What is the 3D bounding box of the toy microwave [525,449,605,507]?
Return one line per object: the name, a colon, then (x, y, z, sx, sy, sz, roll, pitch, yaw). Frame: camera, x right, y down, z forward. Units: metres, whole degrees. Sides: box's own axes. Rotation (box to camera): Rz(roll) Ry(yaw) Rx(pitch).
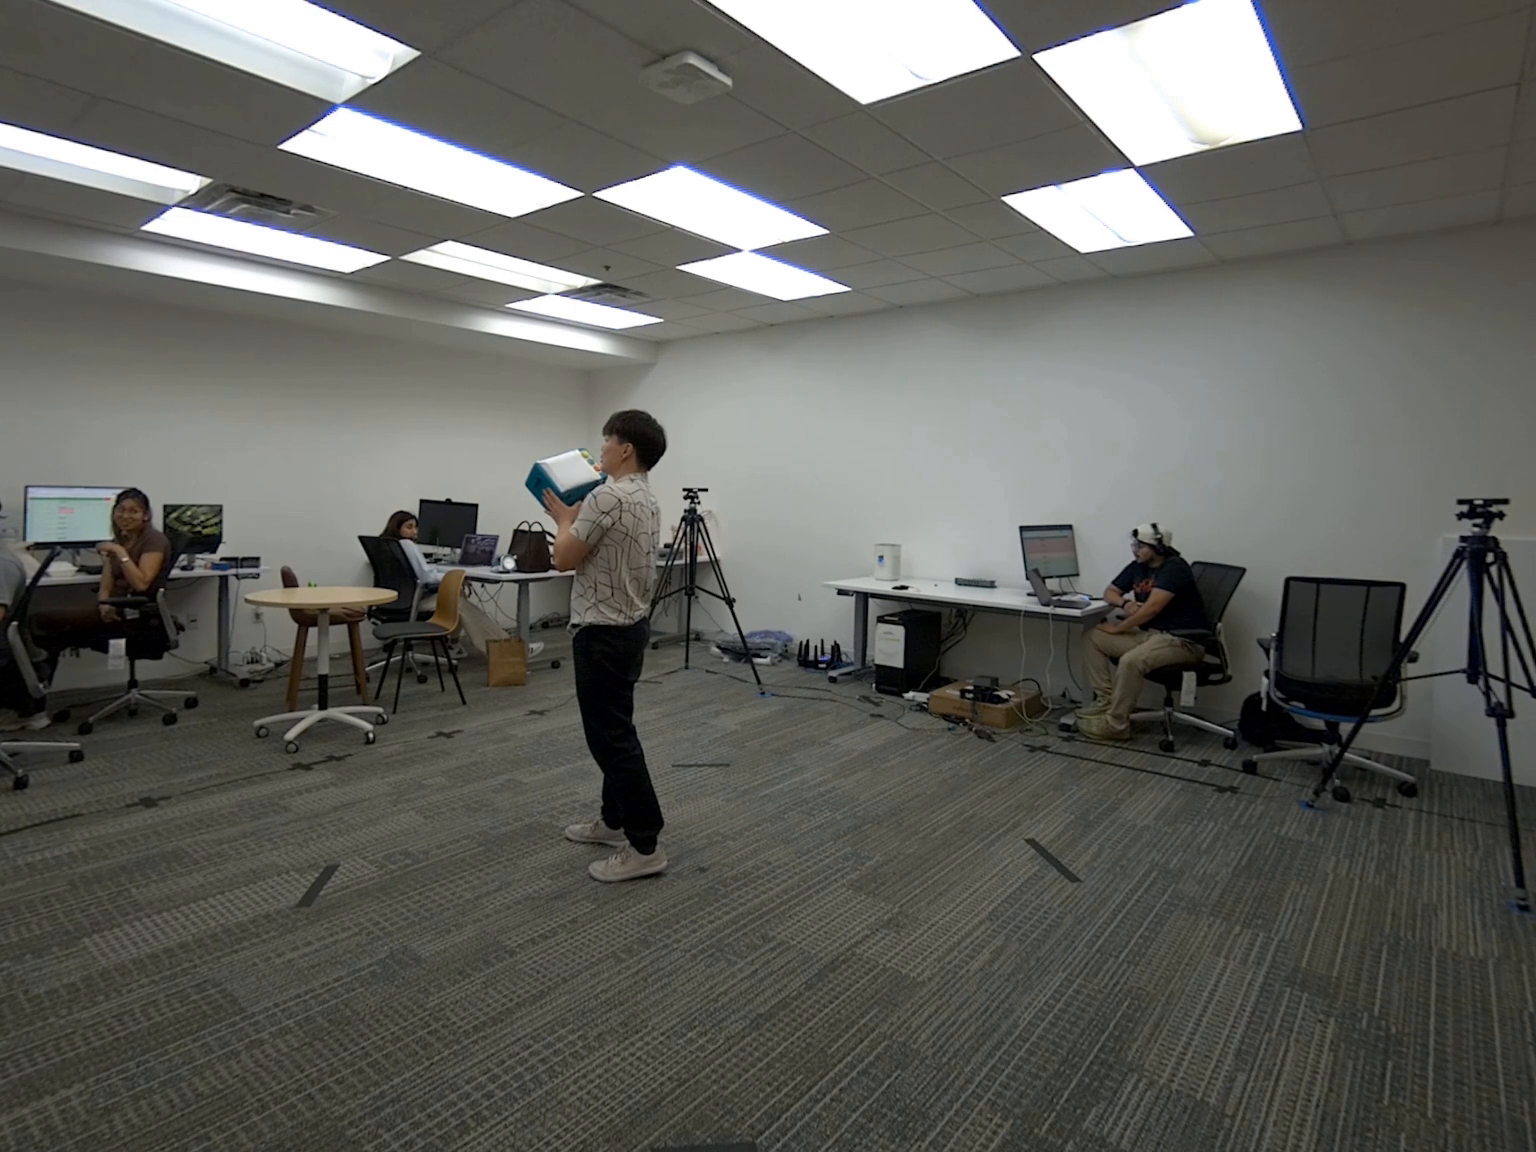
toy microwave: (-0.804, -0.388, 3.373, 0.282, 0.188, 0.152, -29, -18, -47)
